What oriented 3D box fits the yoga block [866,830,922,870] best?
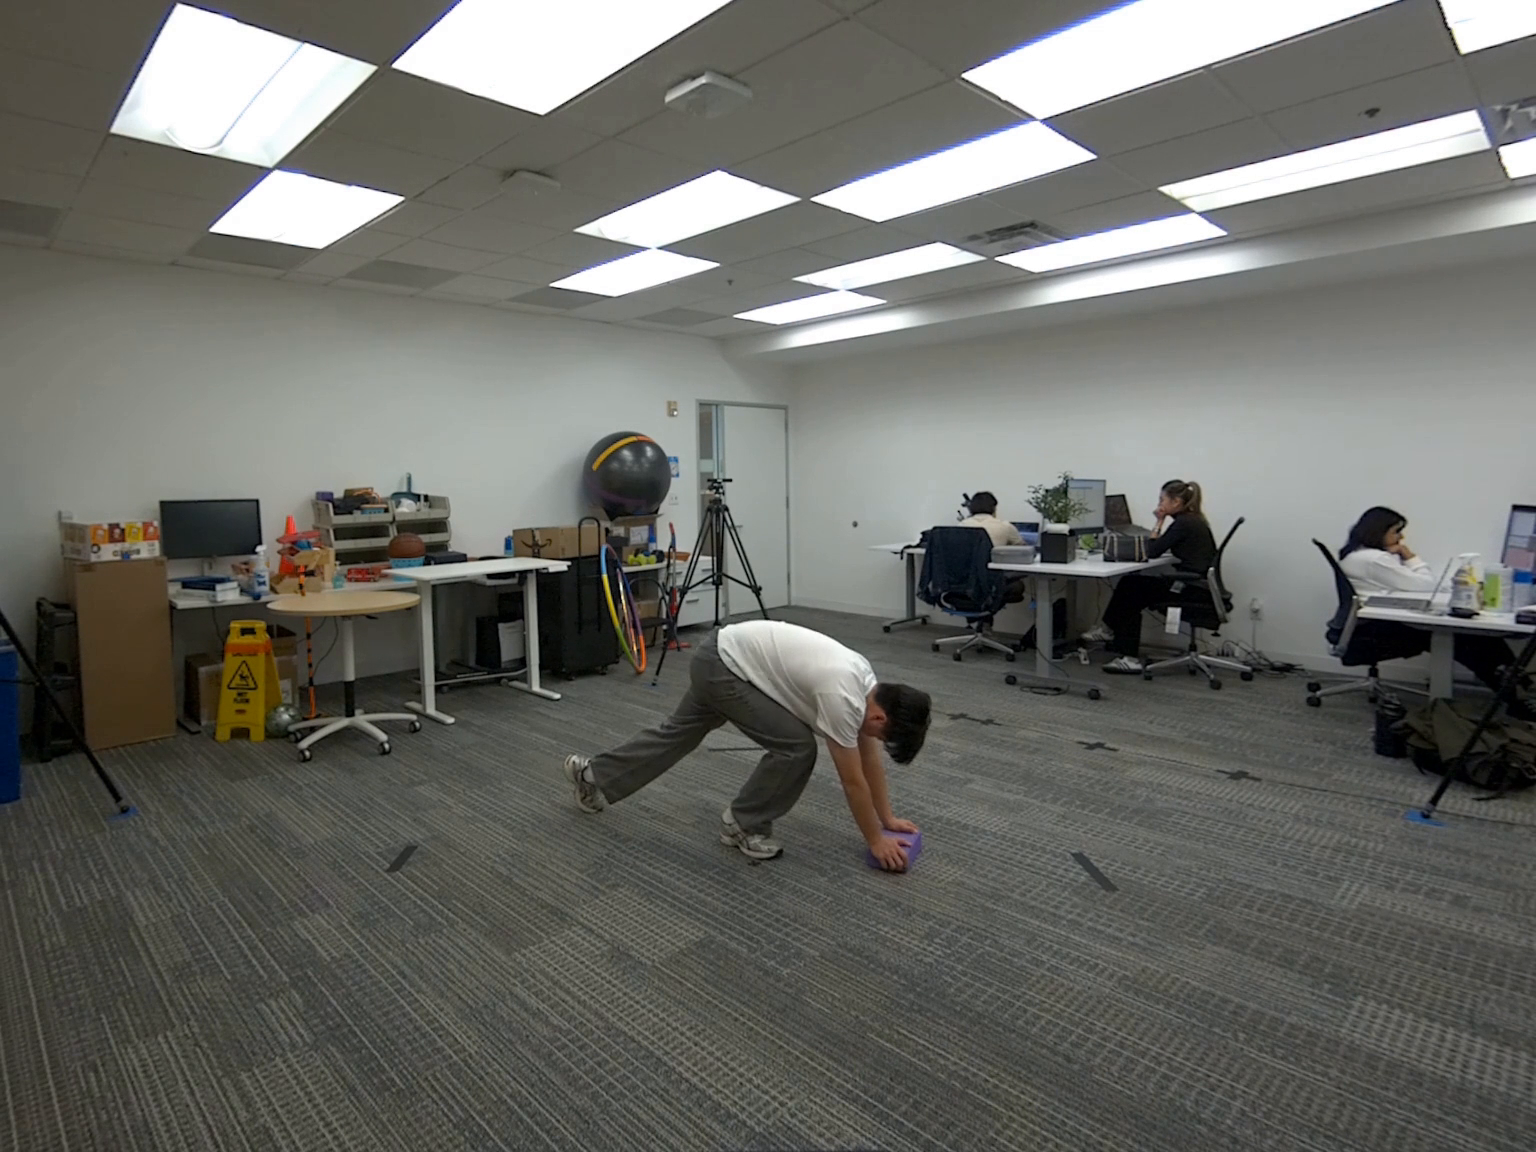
[{"bbox_3d":[0.463,0.994,3.137,0.152,0.076,0.225,2,6,25],"label":"yoga block"}]
